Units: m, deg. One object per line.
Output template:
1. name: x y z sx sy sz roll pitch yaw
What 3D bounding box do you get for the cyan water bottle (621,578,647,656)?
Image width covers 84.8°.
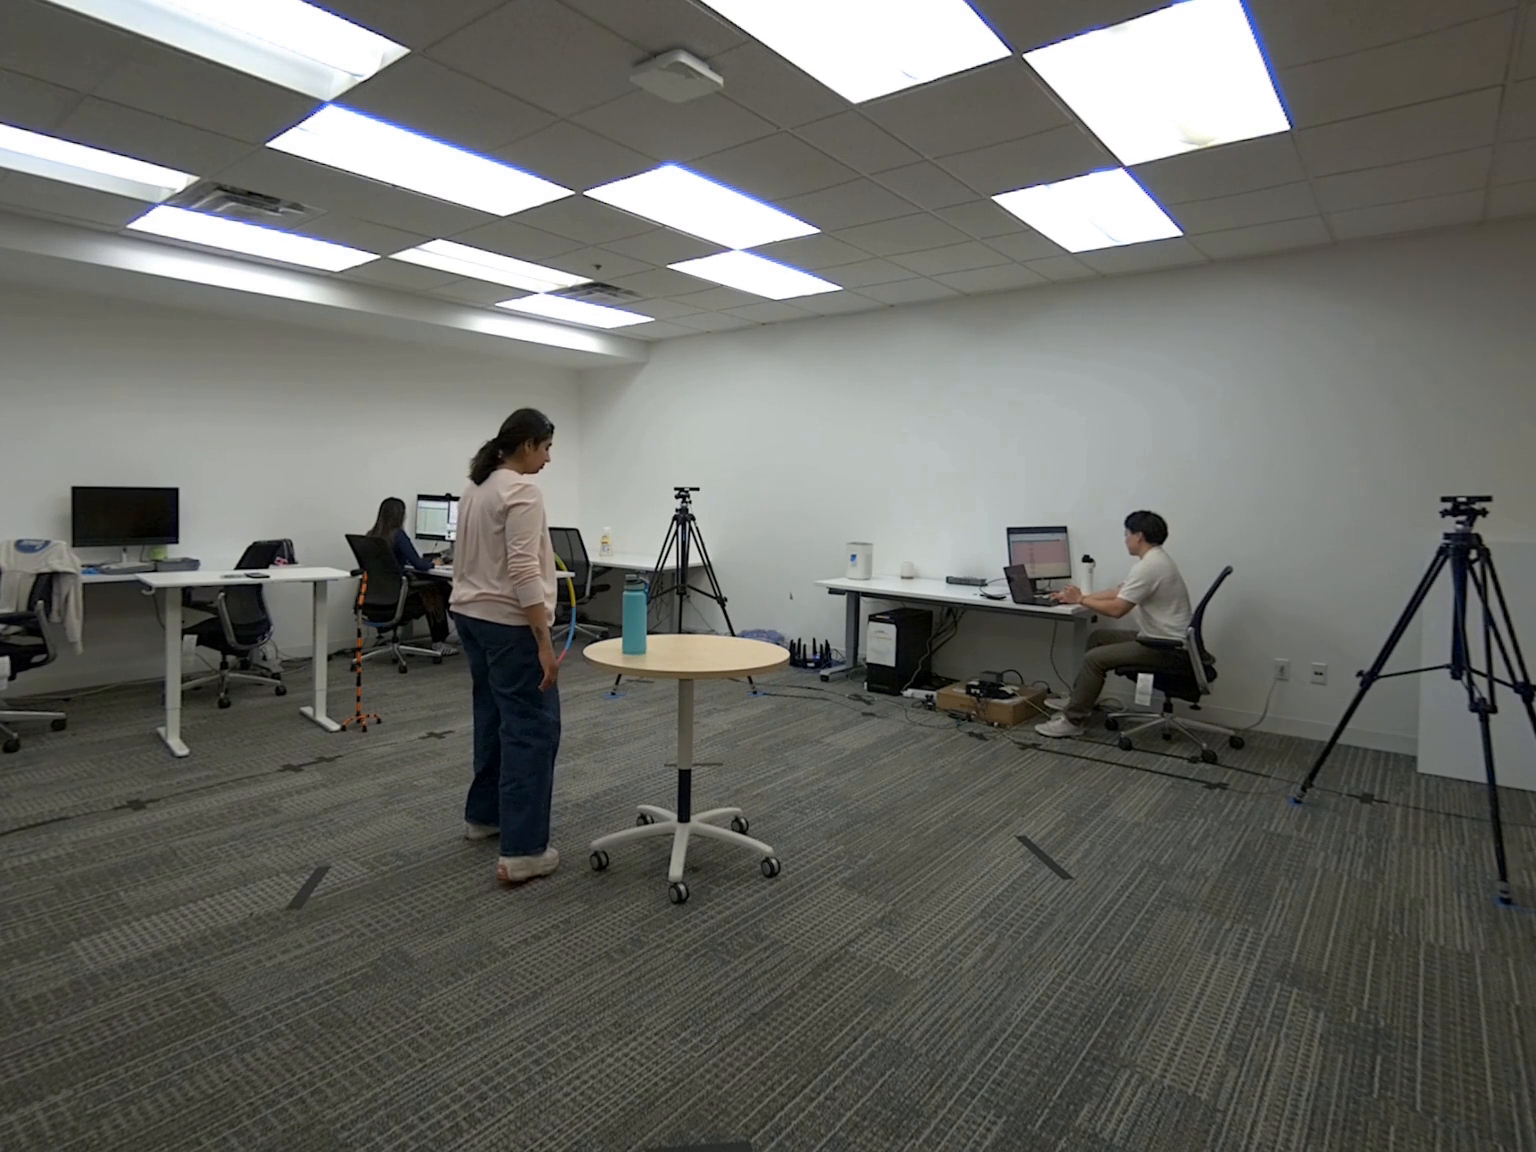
1. cyan water bottle: -0.502 0.140 3.105 0.092 0.283 0.092 2 2 -2
